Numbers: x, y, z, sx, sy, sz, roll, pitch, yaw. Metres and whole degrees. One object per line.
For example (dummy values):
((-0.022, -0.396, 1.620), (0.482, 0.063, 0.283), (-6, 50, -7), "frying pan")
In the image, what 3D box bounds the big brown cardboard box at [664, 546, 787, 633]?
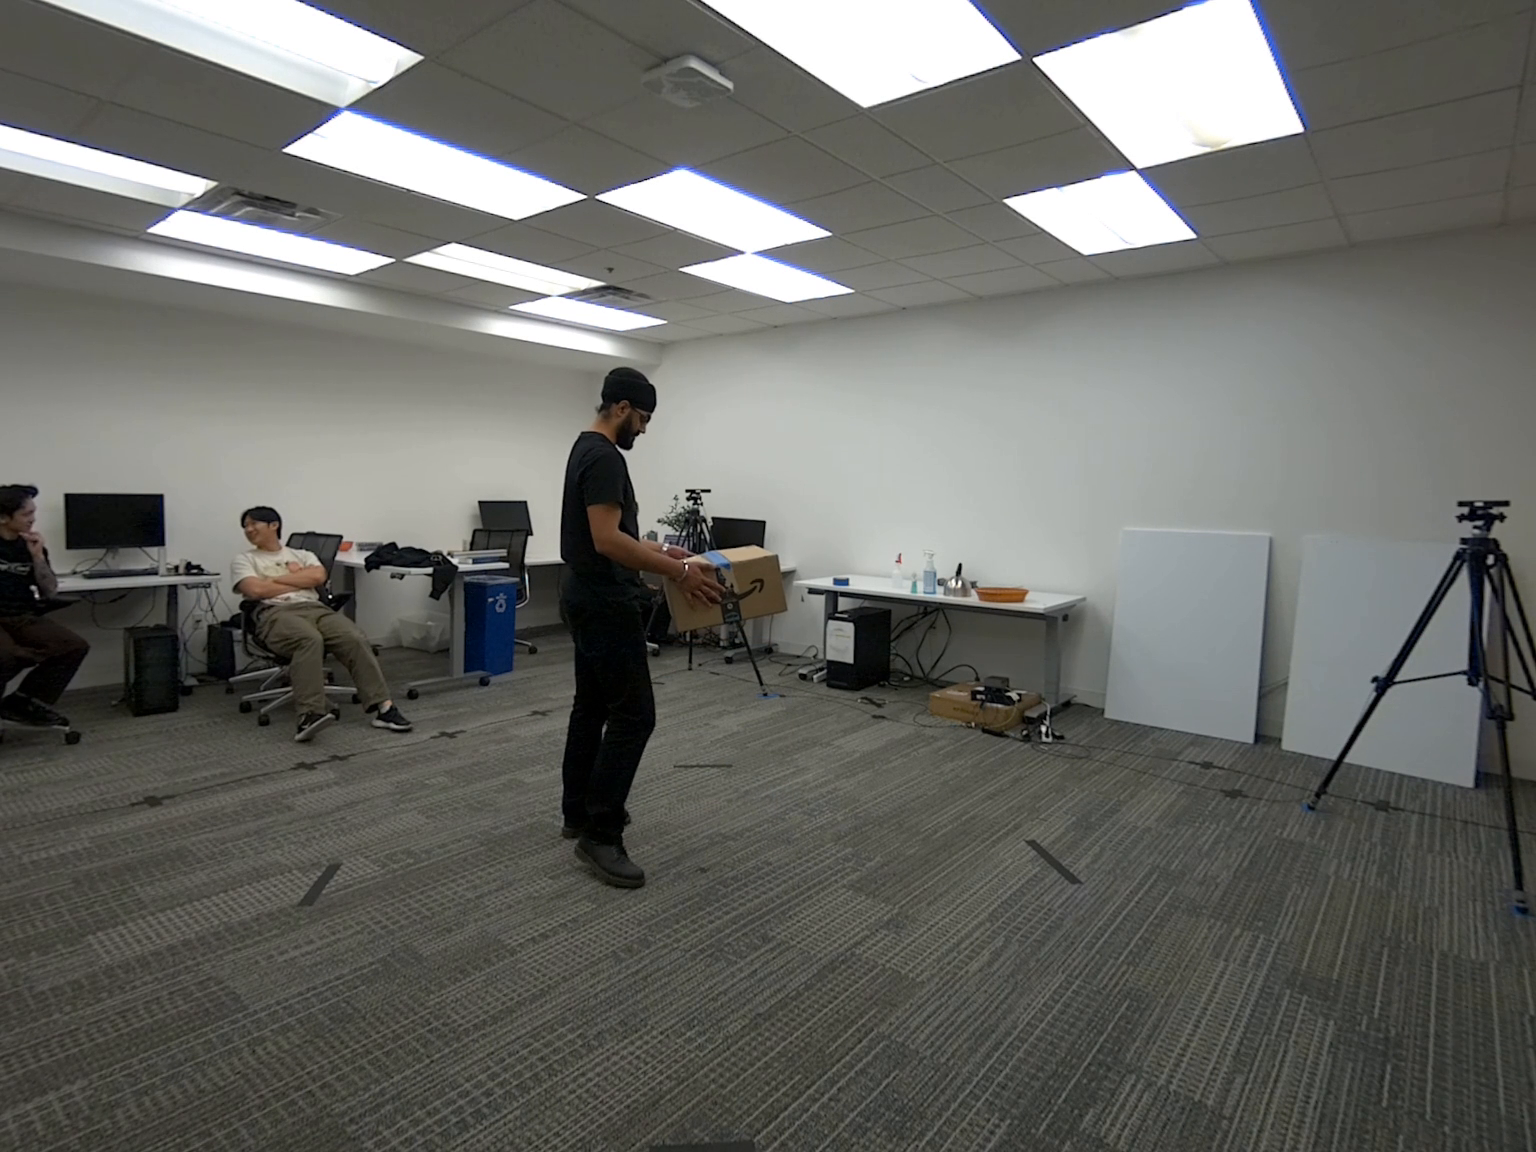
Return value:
((-0.205, 0.036, 3.392), (0.414, 0.231, 0.597), (-9, 8, -9), "big brown cardboard box")
